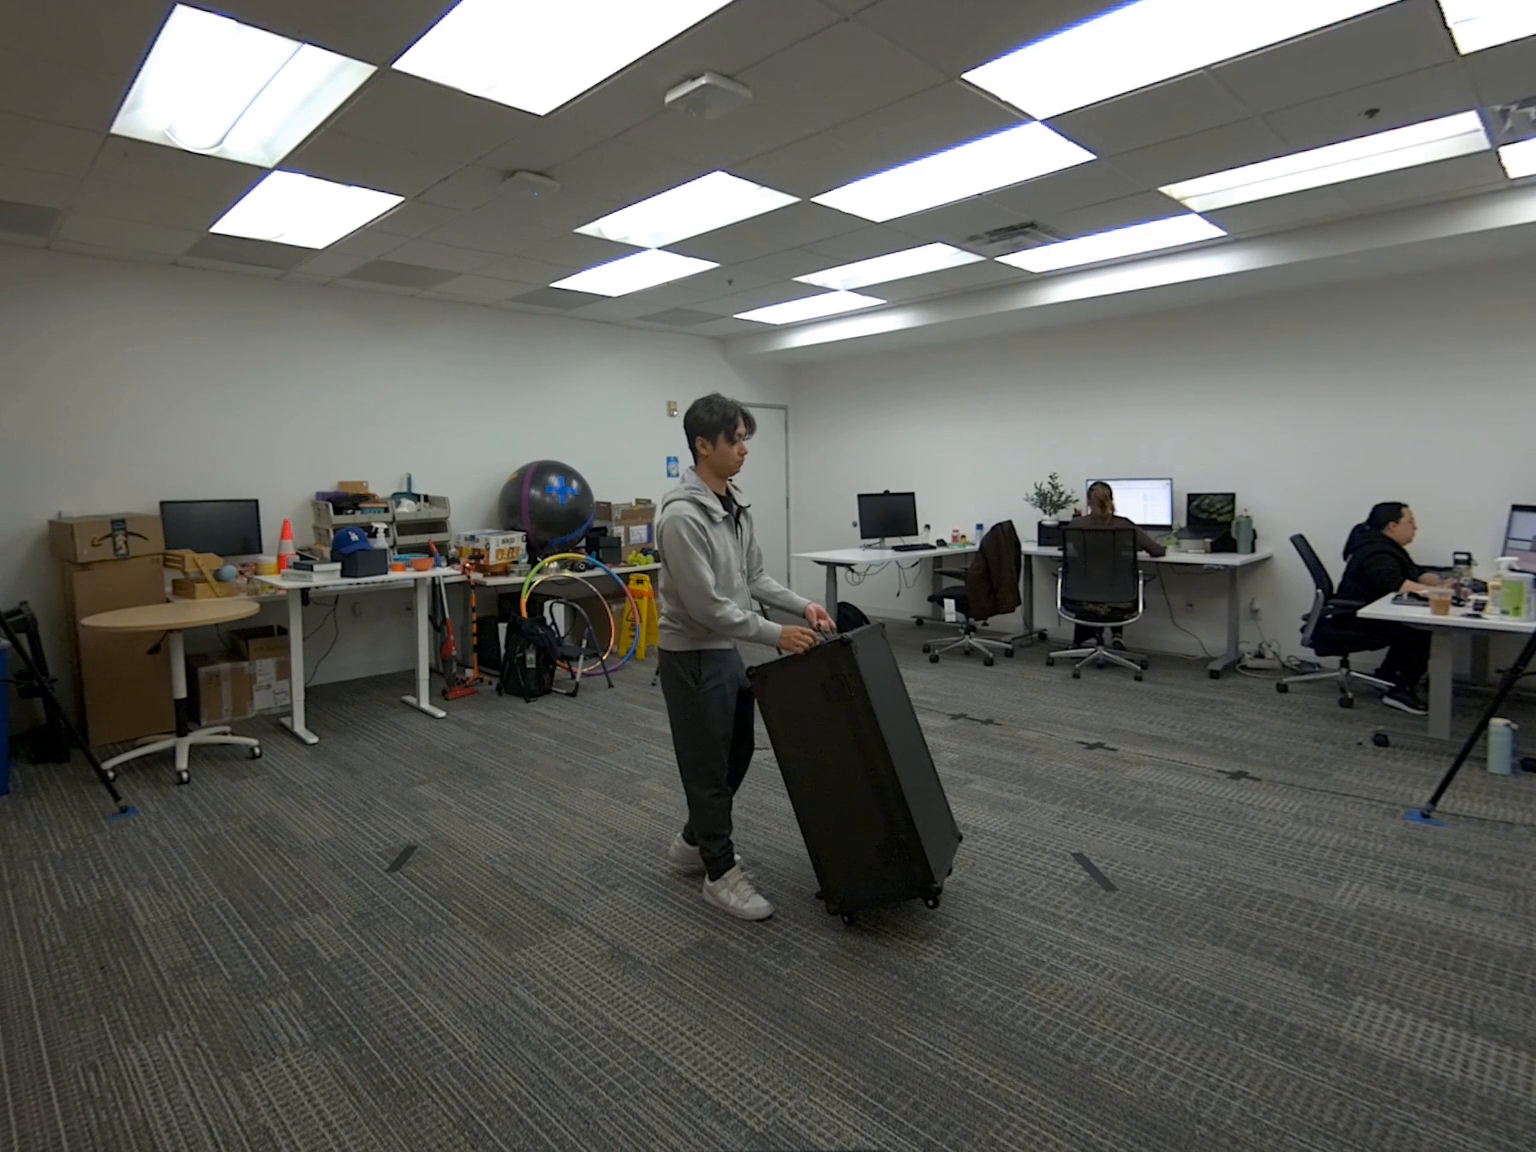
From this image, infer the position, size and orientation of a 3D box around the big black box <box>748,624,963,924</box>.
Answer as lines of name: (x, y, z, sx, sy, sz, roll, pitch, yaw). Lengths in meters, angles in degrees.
big black box: (0.295, 0.630, 2.797, 0.400, 0.870, 0.511, -23, -8, 21)
